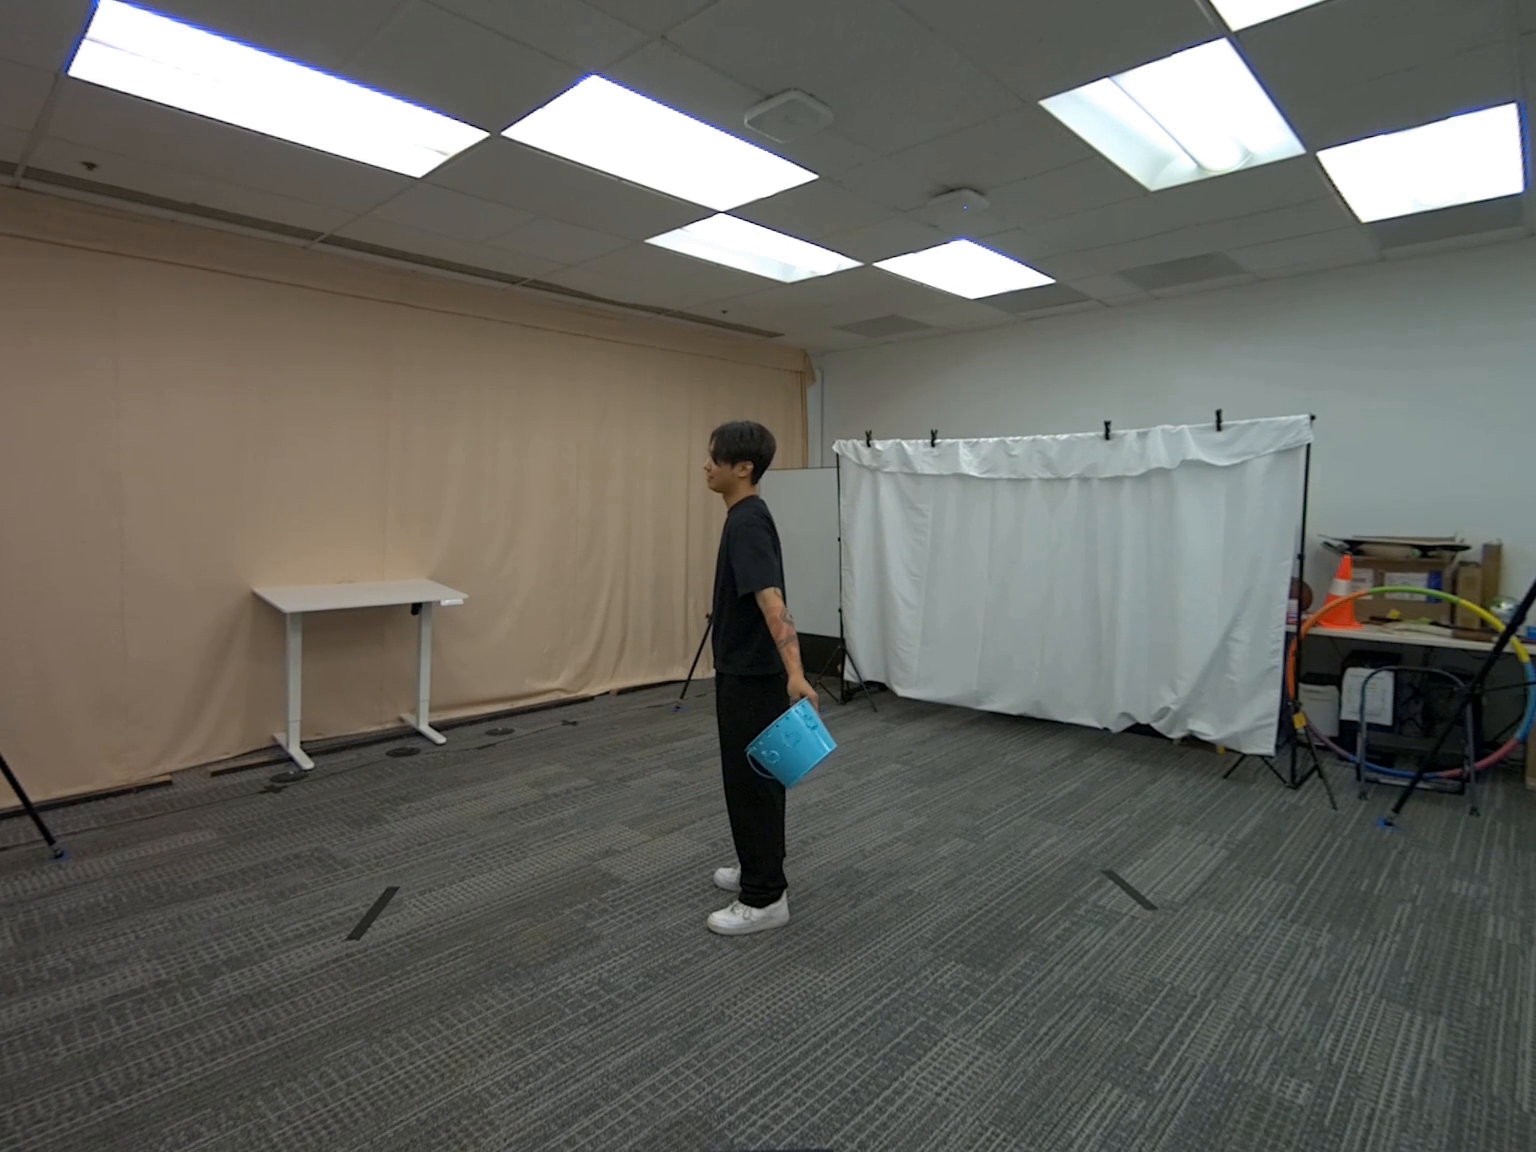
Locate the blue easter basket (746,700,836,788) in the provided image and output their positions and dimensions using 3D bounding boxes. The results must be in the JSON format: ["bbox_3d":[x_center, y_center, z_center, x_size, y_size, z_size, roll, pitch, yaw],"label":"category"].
[{"bbox_3d":[0.063,0.474,2.338,0.242,0.158,0.241,-38,-13,-13],"label":"blue easter basket"}]
